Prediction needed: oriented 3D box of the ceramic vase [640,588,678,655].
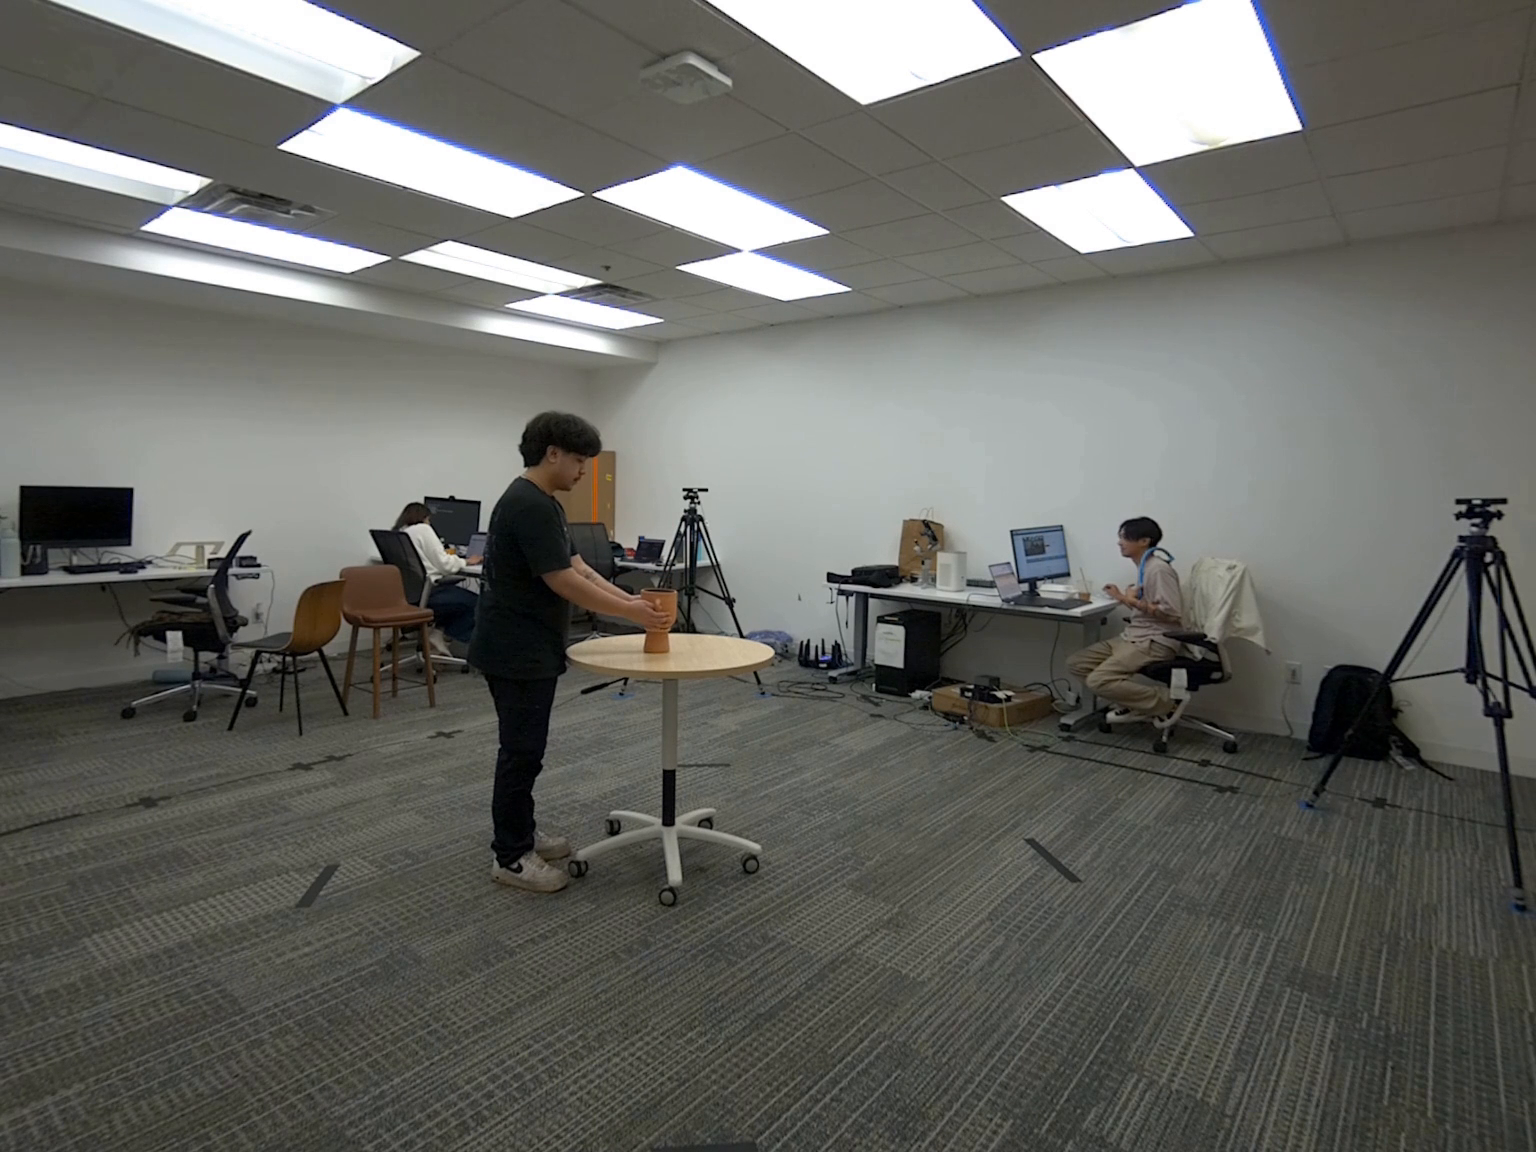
[{"bbox_3d":[-0.420,0.164,3.104,0.139,0.219,0.154,4,4,36],"label":"ceramic vase"}]
